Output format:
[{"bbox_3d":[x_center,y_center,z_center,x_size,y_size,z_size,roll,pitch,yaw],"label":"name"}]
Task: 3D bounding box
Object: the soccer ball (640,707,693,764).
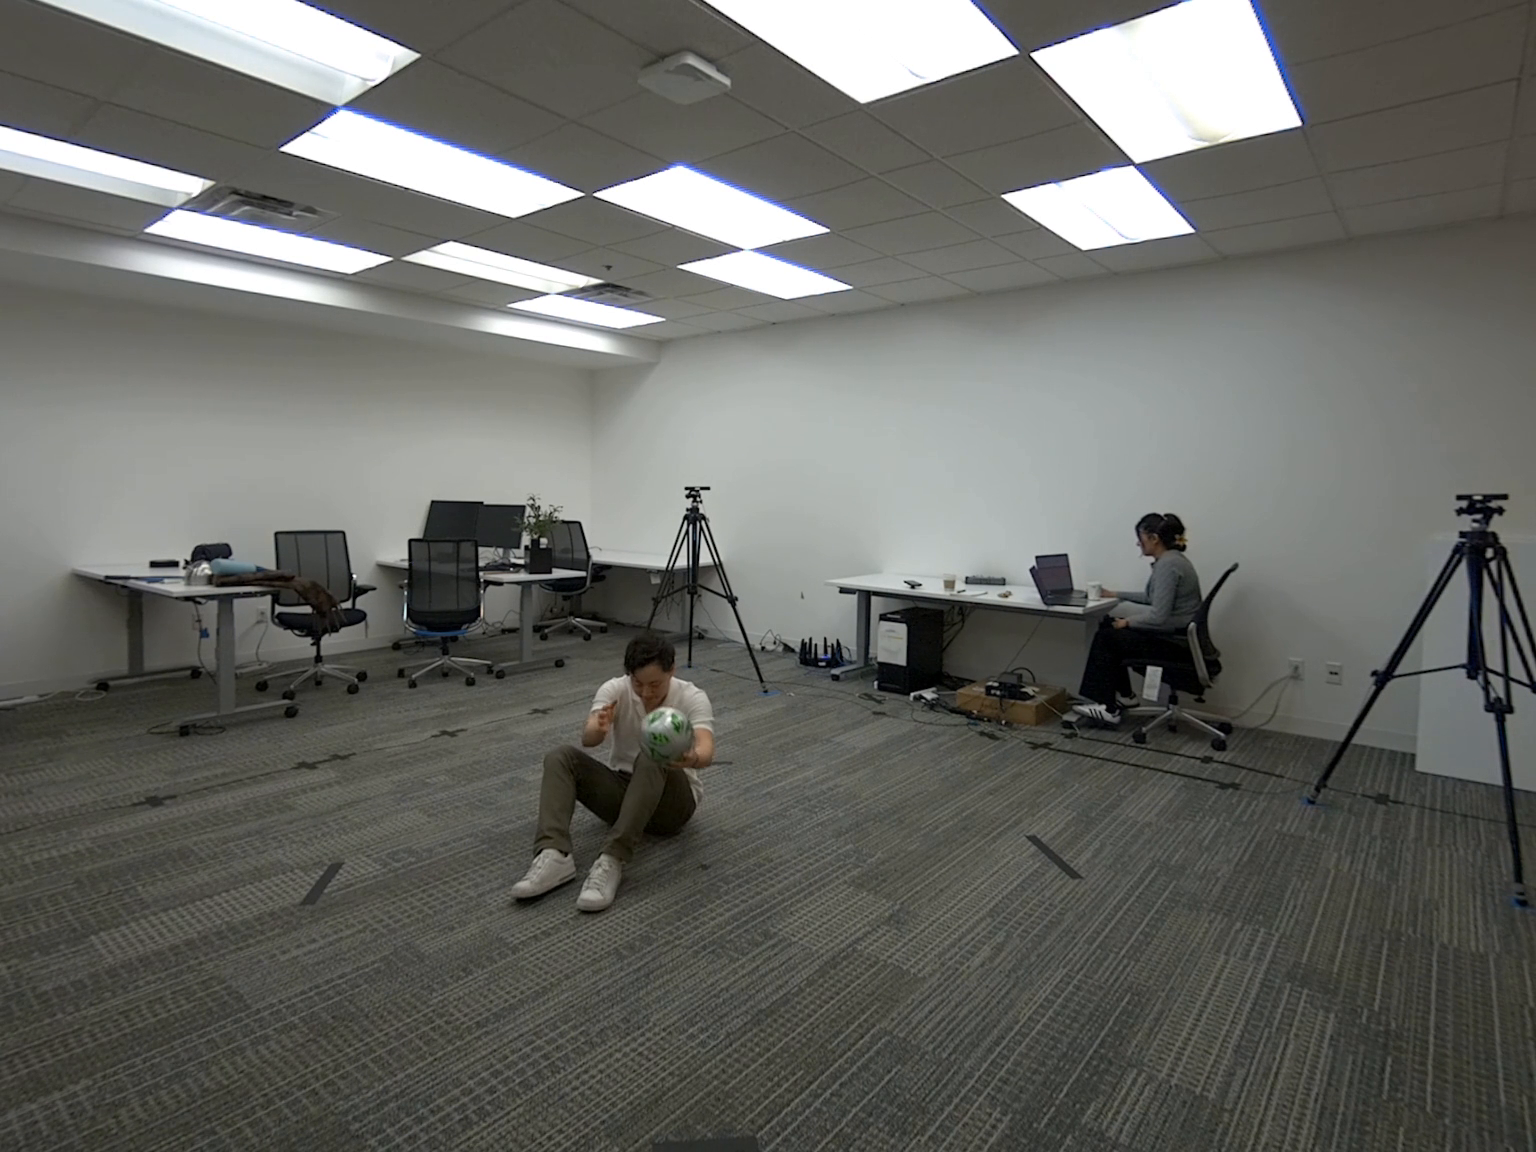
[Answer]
[{"bbox_3d":[-0.361,0.530,2.867,0.187,0.187,0.188,1,4,-2],"label":"soccer ball"}]
